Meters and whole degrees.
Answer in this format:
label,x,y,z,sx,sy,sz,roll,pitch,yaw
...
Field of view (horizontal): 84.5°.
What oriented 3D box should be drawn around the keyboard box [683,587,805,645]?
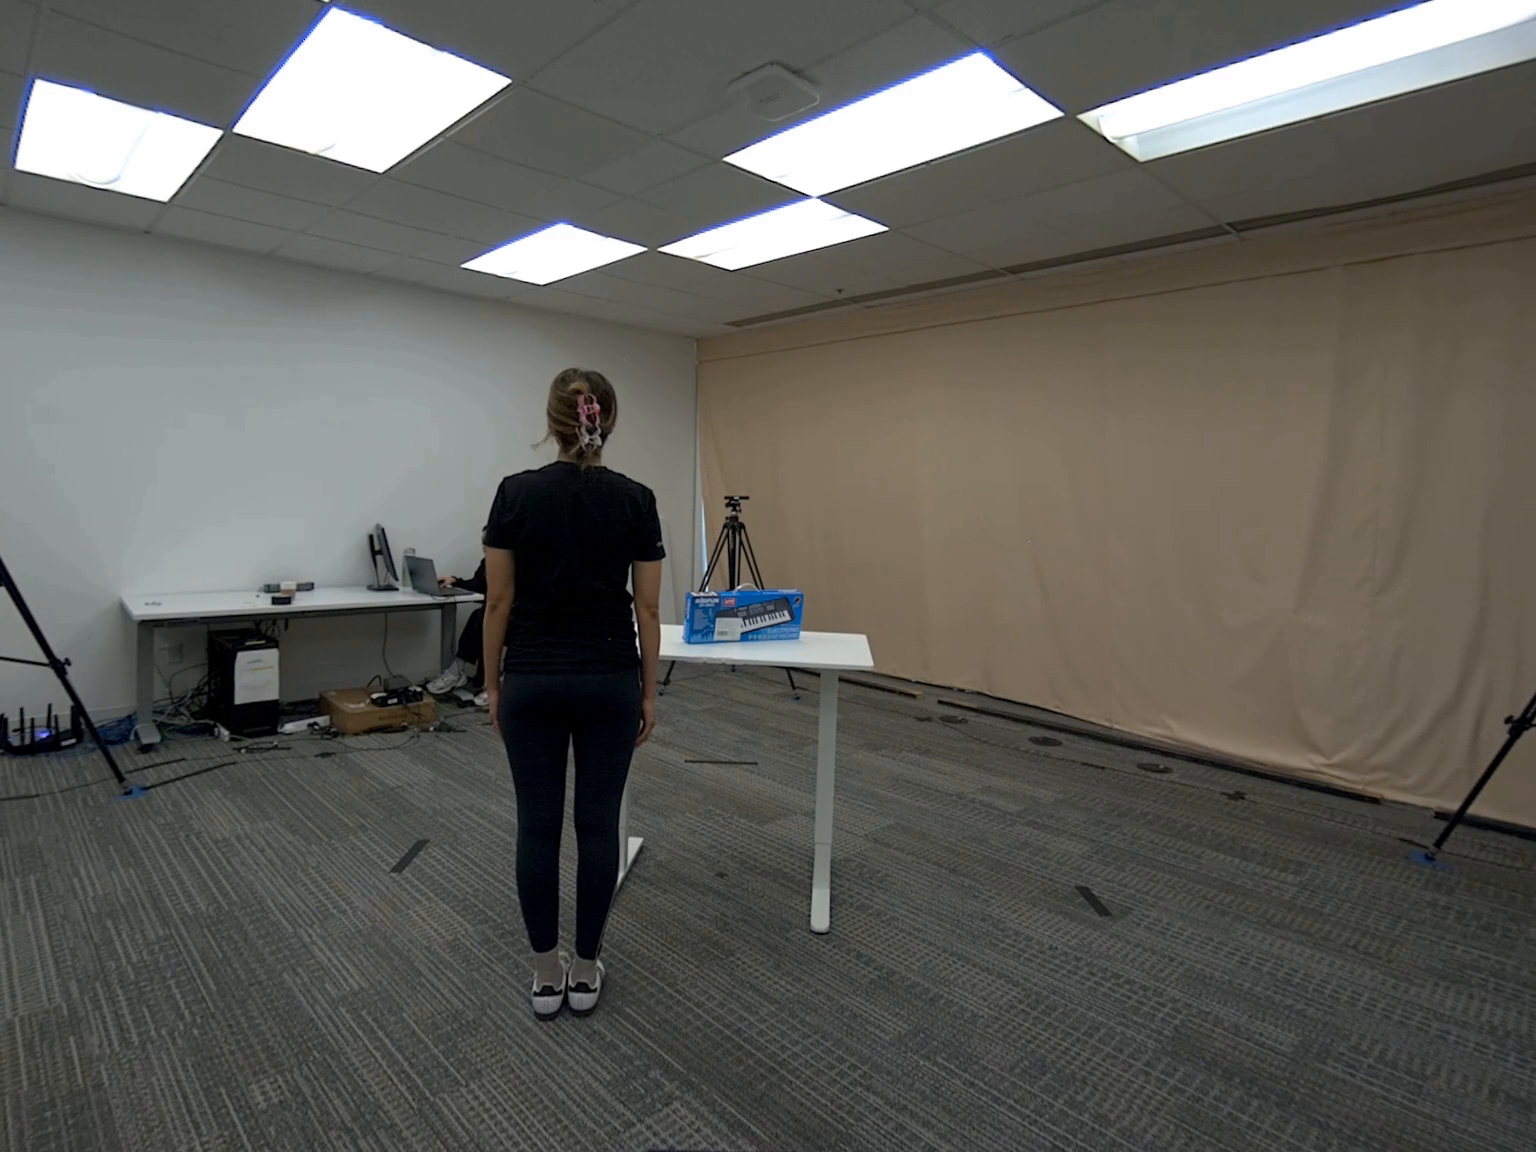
label,x,y,z,sx,sy,sz,roll,pitch,yaw
keyboard box,-0.090,0.145,2.988,0.429,0.175,0.060,-1,11,-25
